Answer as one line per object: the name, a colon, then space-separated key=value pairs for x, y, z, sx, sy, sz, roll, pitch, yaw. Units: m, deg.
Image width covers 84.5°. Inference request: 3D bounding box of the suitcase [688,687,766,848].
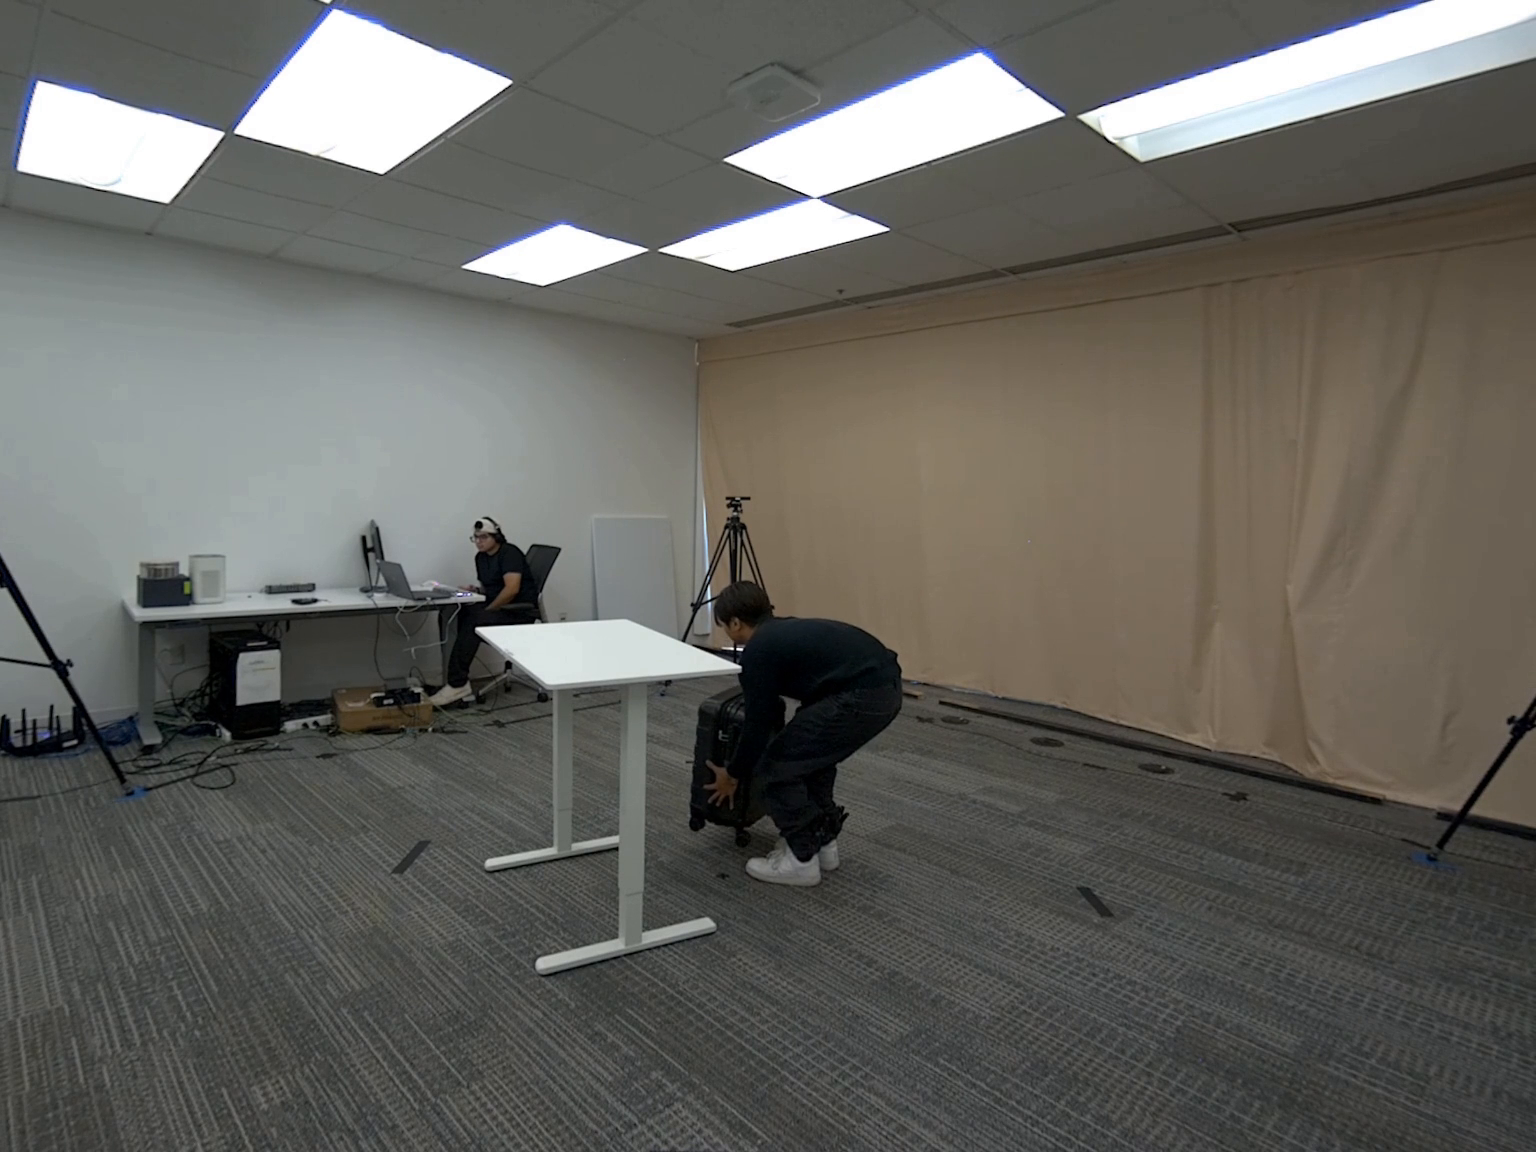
suitcase: x=-0.122 y=0.730 z=3.393 sx=0.254 sy=0.547 sz=0.369 roll=7 pitch=8 yaw=27
